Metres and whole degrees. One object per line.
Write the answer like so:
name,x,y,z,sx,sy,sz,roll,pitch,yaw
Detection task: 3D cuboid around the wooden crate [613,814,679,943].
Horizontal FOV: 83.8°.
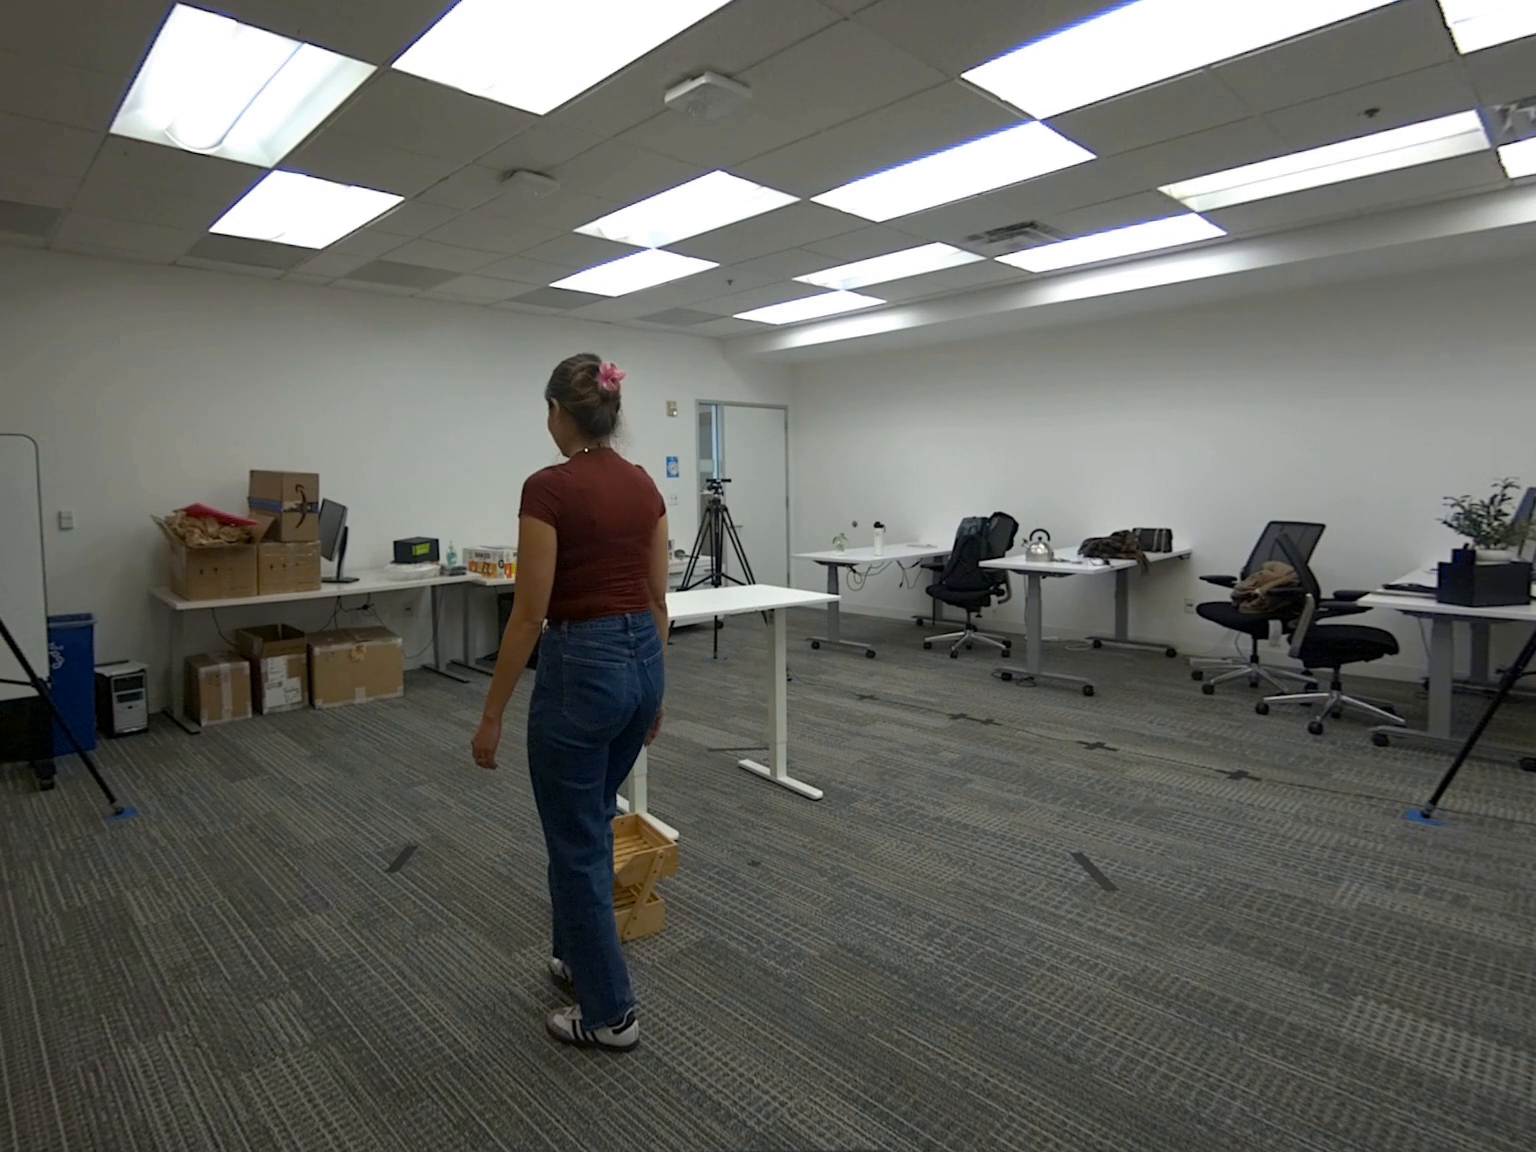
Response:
wooden crate,-0.482,0.963,2.735,0.295,0.272,0.334,-4,6,-31
